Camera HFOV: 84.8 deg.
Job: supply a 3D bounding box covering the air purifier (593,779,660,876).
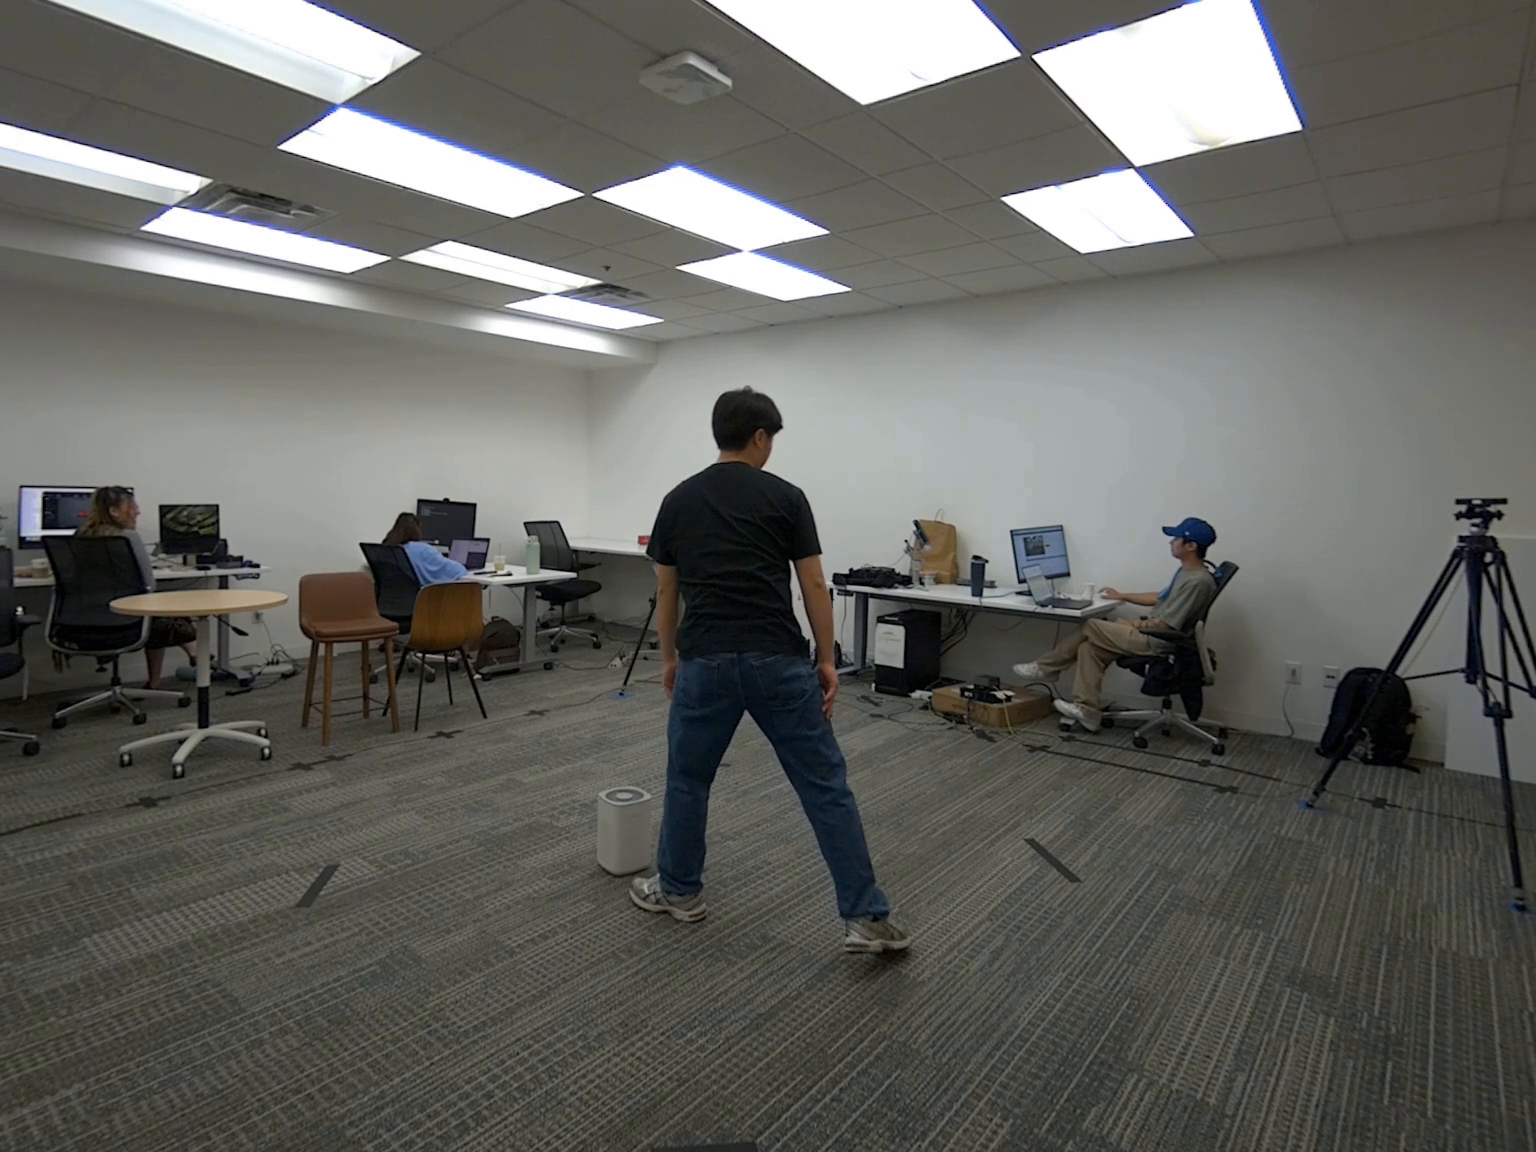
[{"bbox_3d":[-0.527,0.921,3.113,0.166,0.265,0.177,-2,4,-42],"label":"air purifier"}]
